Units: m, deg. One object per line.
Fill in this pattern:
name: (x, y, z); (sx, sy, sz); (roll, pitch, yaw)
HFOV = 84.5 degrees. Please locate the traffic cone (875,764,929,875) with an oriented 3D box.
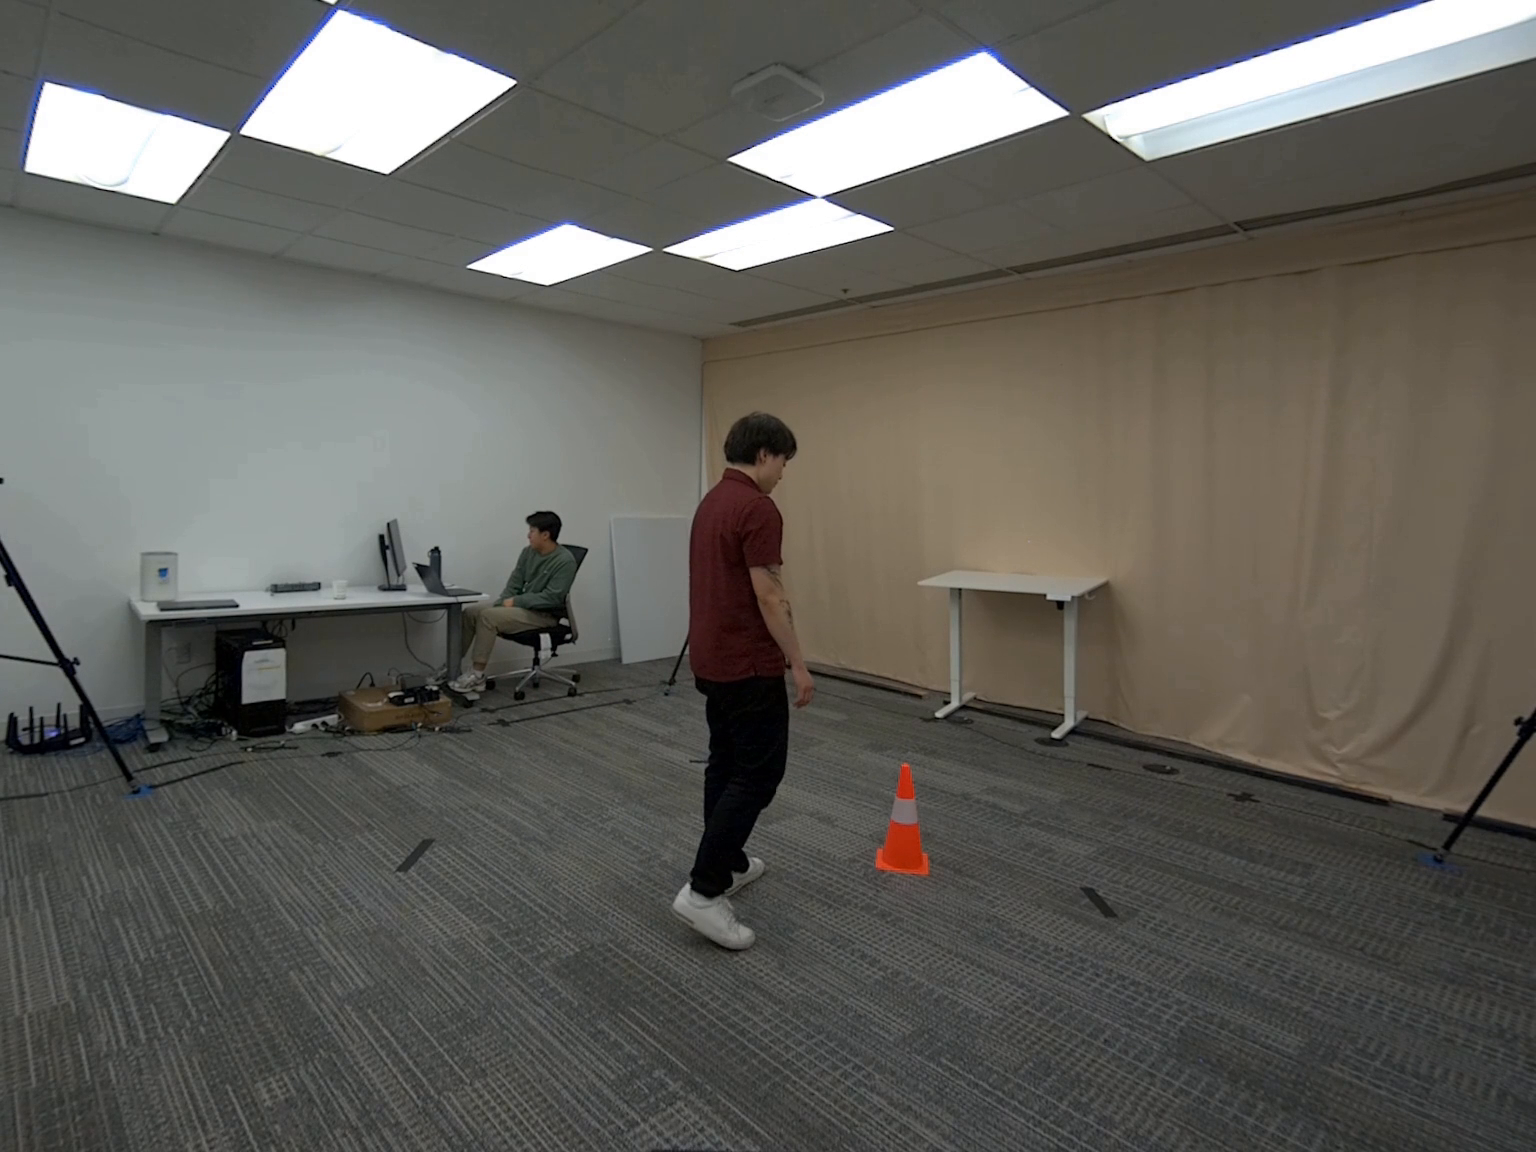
traffic cone: (0.525, 0.921, 3.259); (0.206, 0.383, 0.203); (2, 3, 13)
